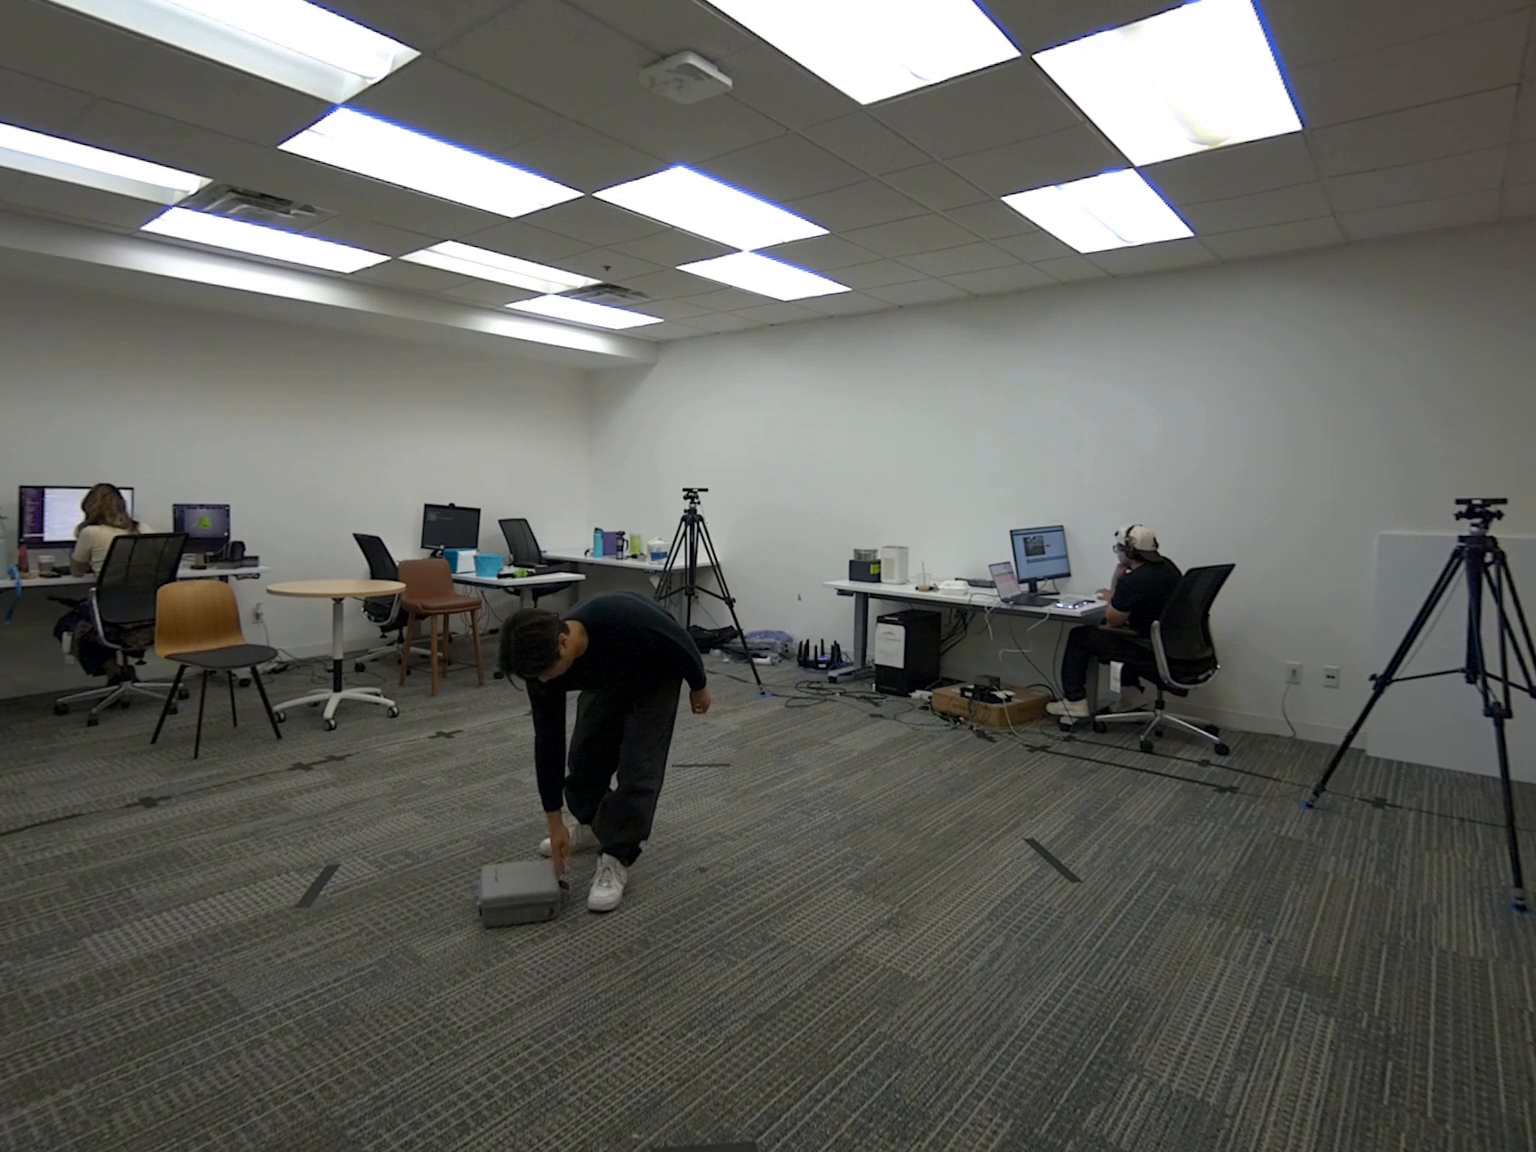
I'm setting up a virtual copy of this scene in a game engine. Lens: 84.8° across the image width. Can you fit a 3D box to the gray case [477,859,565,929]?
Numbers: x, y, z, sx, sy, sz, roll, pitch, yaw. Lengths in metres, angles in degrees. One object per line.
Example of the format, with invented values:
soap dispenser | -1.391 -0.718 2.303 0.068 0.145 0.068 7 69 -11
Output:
gray case | -0.824 1.032 2.804 0.256 0.104 0.262 0 4 -17
